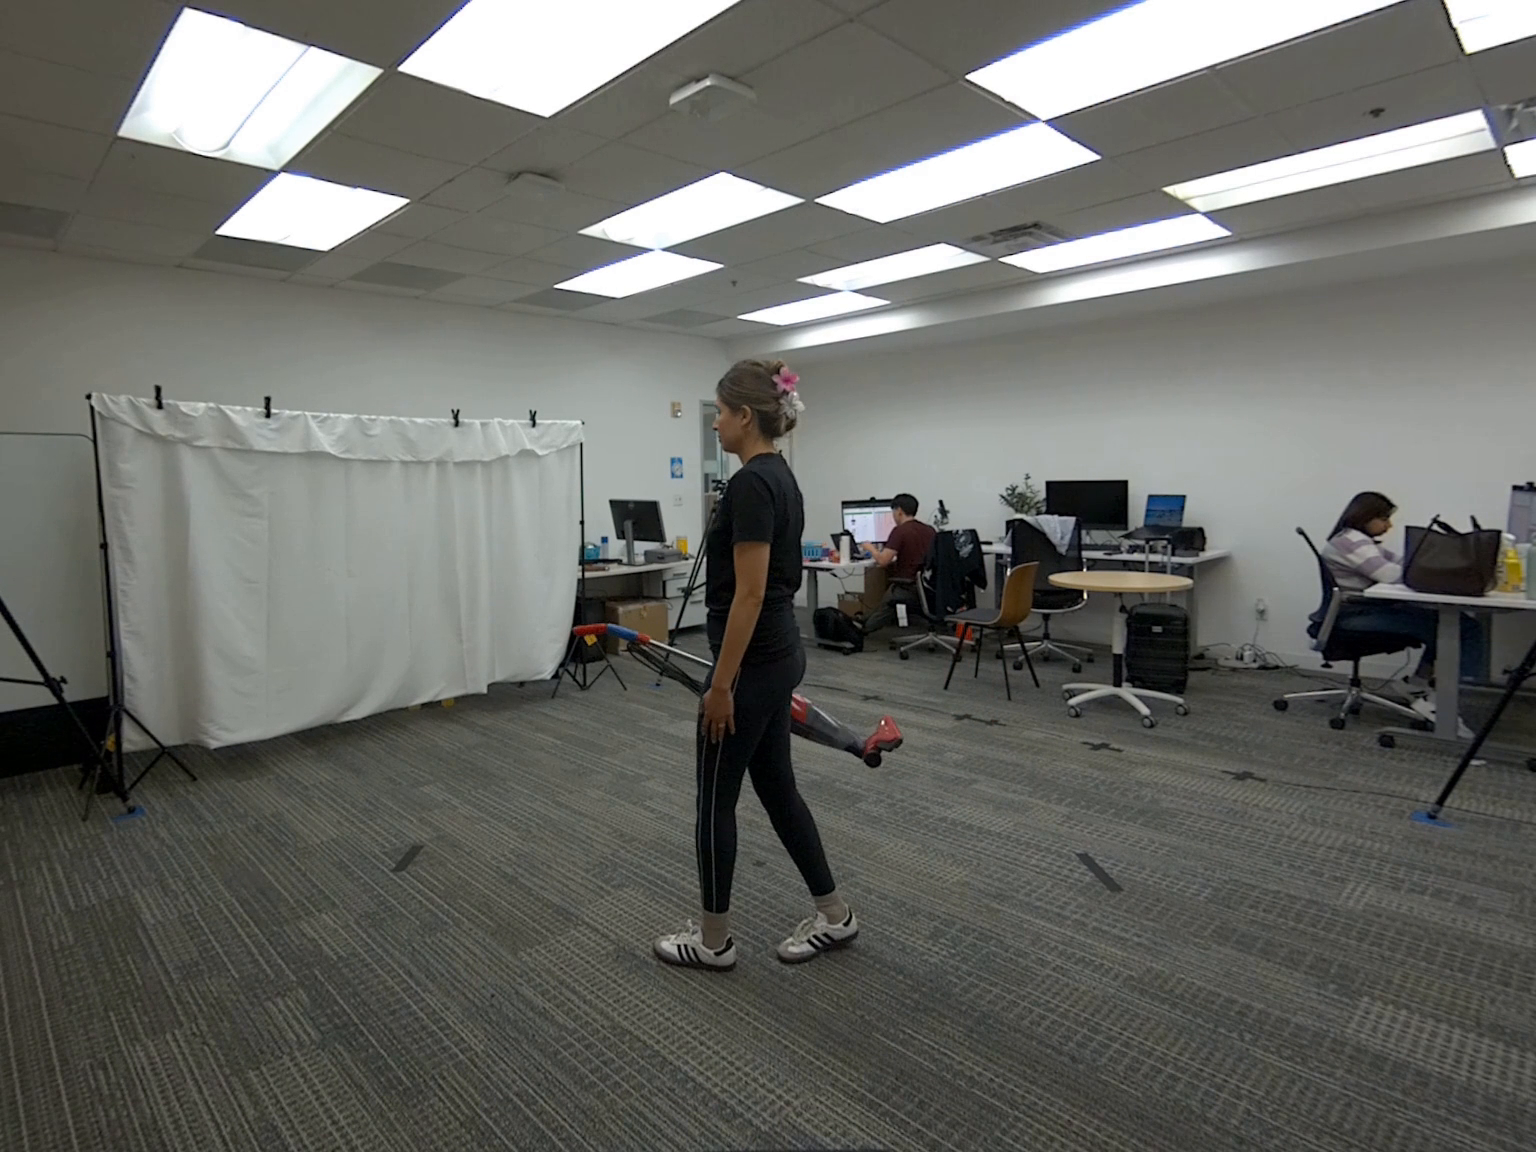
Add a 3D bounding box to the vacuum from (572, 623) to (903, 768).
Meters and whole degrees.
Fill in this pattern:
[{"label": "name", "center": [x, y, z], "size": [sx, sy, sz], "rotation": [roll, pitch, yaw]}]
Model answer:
[{"label": "vacuum", "center": [-0.111, 0.360, 2.719], "size": [1.051, 0.144, 0.252], "rotation": [21, 1, 1]}]
